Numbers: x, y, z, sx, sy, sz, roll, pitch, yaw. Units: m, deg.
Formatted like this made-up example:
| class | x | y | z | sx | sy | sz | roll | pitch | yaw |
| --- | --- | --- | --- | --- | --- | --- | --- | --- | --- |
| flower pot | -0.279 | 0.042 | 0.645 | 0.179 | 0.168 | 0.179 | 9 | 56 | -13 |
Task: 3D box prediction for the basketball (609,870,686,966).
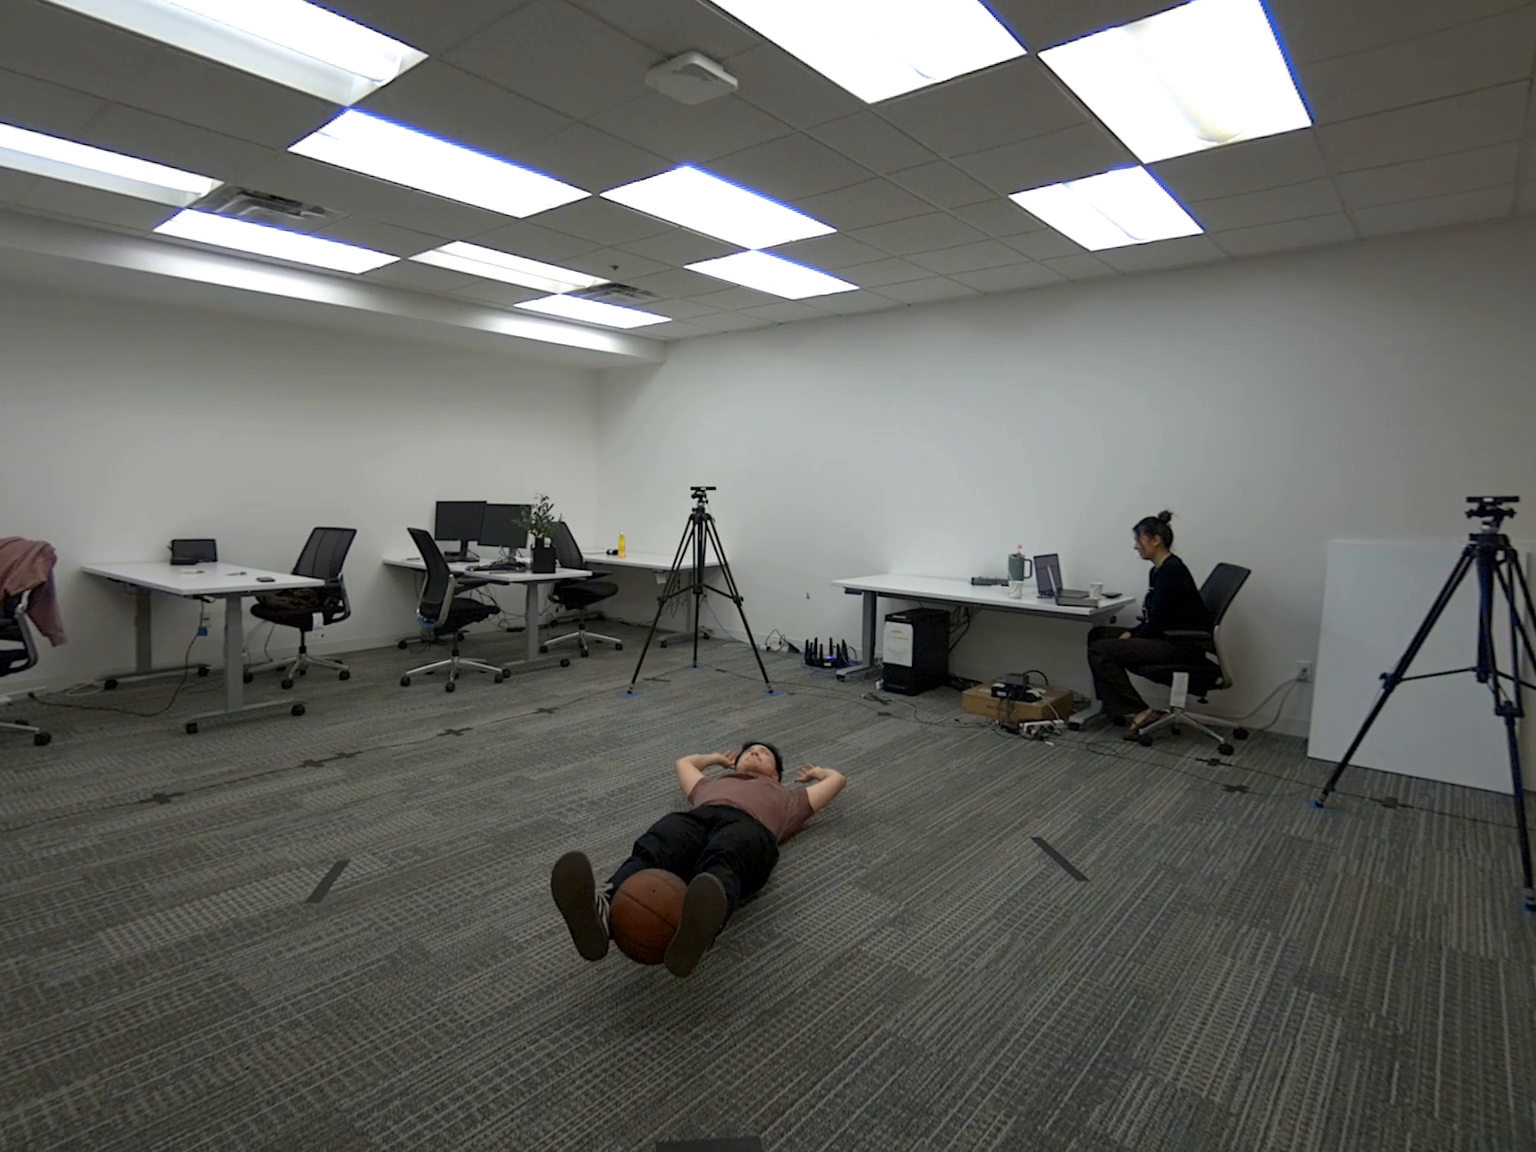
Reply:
| class | x | y | z | sx | sy | sz | roll | pitch | yaw |
| --- | --- | --- | --- | --- | --- | --- | --- | --- | --- |
| basketball | -0.319 | 0.911 | 2.291 | 0.236 | 0.235 | 0.237 | -3 | 3 | -2 |
